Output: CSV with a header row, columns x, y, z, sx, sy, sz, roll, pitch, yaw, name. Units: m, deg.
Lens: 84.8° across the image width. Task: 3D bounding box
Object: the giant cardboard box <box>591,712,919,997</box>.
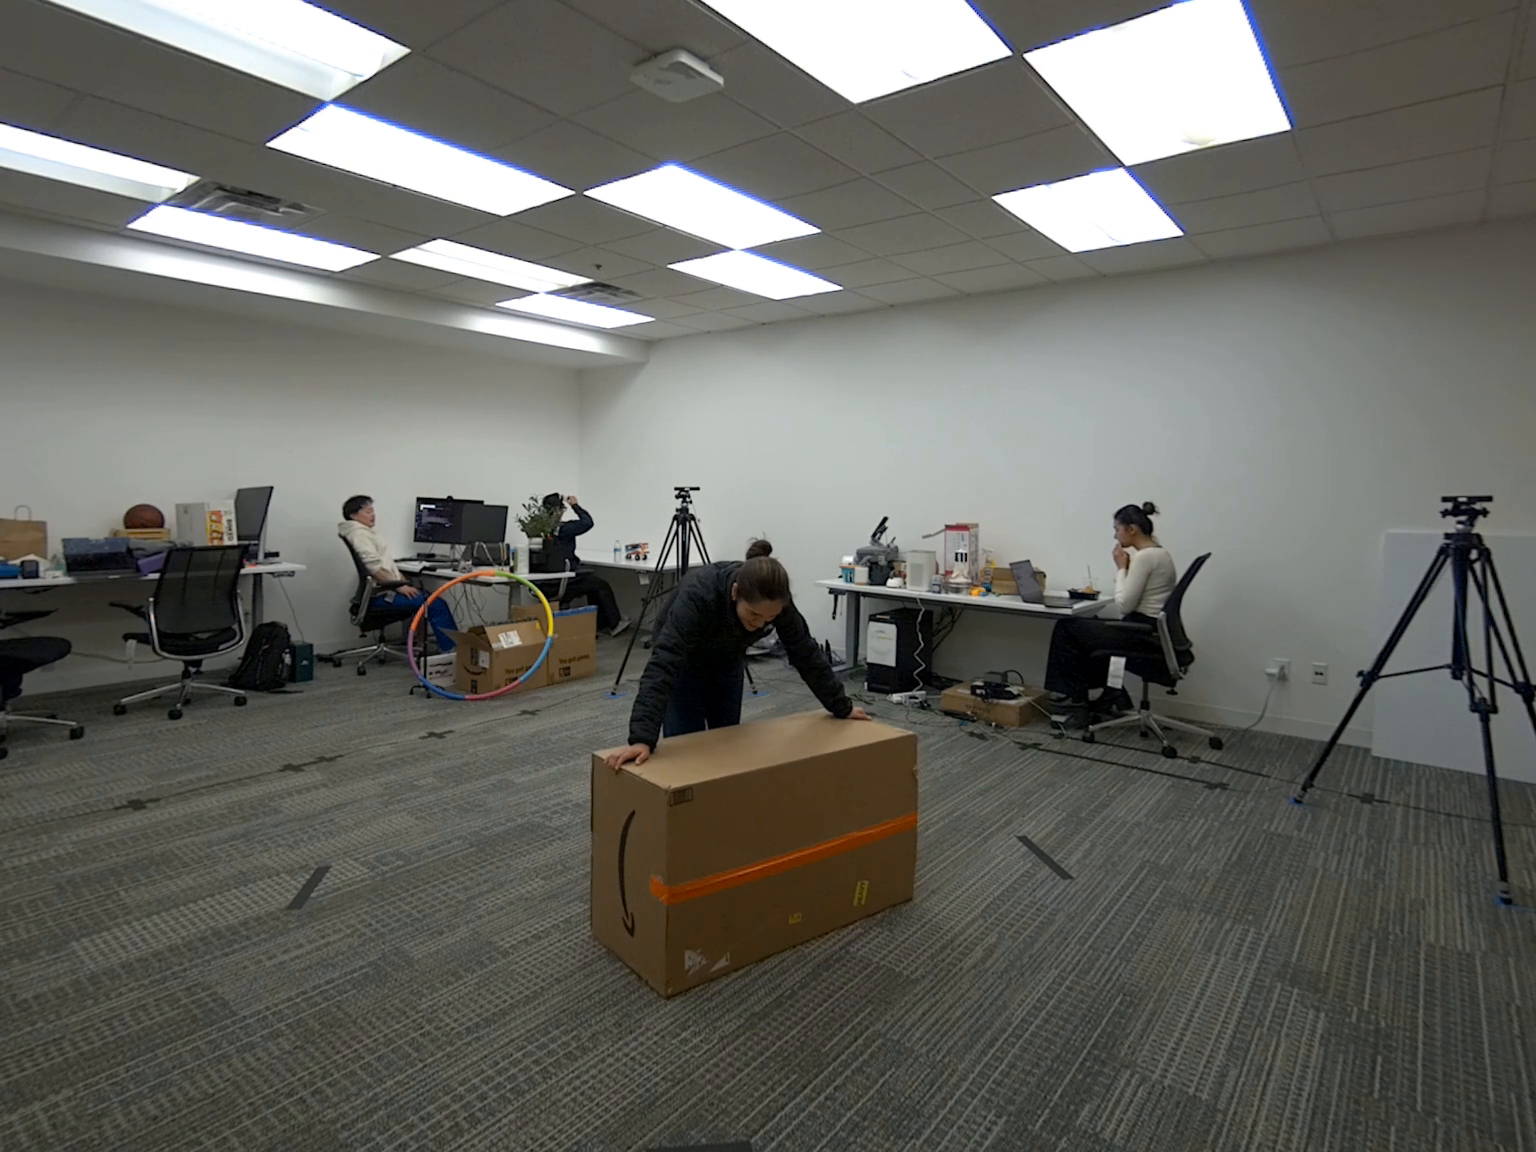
x,y,z,sx,sy,sz,roll,pitch,yaw,name
-0.007,0.817,2.766,0.997,0.583,0.461,-3,3,-36,giant cardboard box
